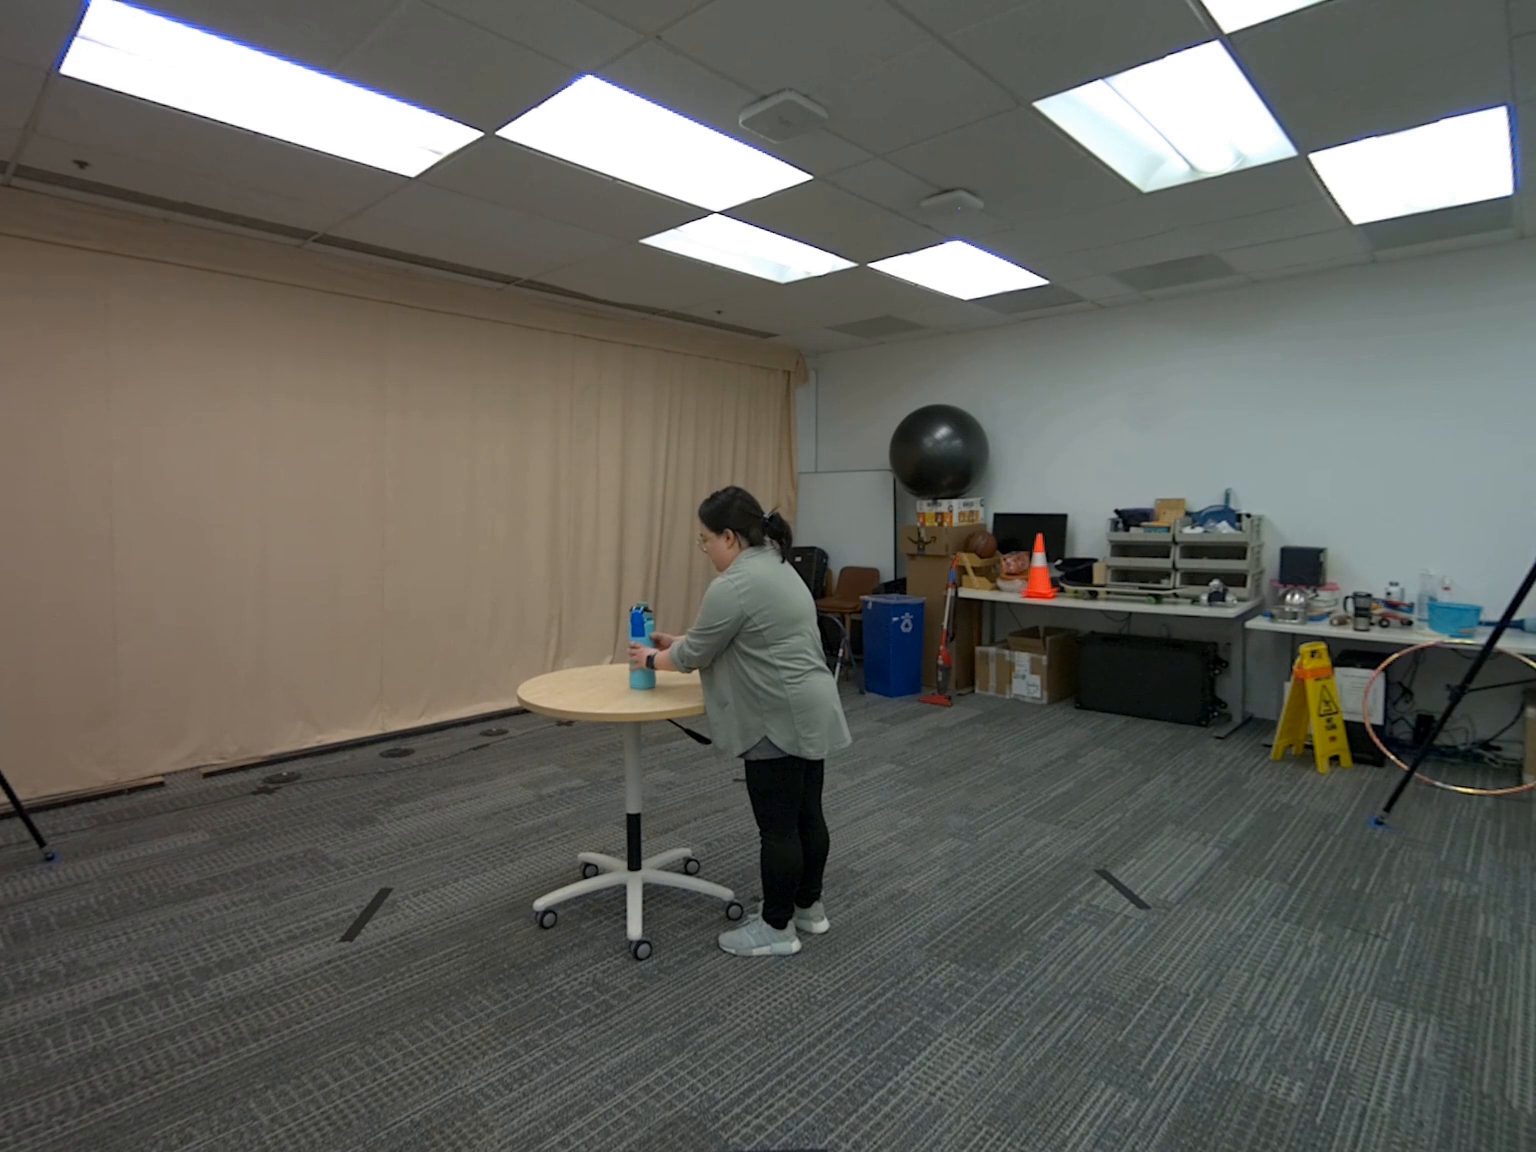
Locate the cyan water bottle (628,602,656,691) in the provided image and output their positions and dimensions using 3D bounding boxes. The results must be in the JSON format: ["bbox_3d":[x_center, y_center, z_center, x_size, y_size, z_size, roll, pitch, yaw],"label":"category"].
[{"bbox_3d":[-0.424,0.236,2.839,0.092,0.282,0.093,-1,5,-2],"label":"cyan water bottle"}]
